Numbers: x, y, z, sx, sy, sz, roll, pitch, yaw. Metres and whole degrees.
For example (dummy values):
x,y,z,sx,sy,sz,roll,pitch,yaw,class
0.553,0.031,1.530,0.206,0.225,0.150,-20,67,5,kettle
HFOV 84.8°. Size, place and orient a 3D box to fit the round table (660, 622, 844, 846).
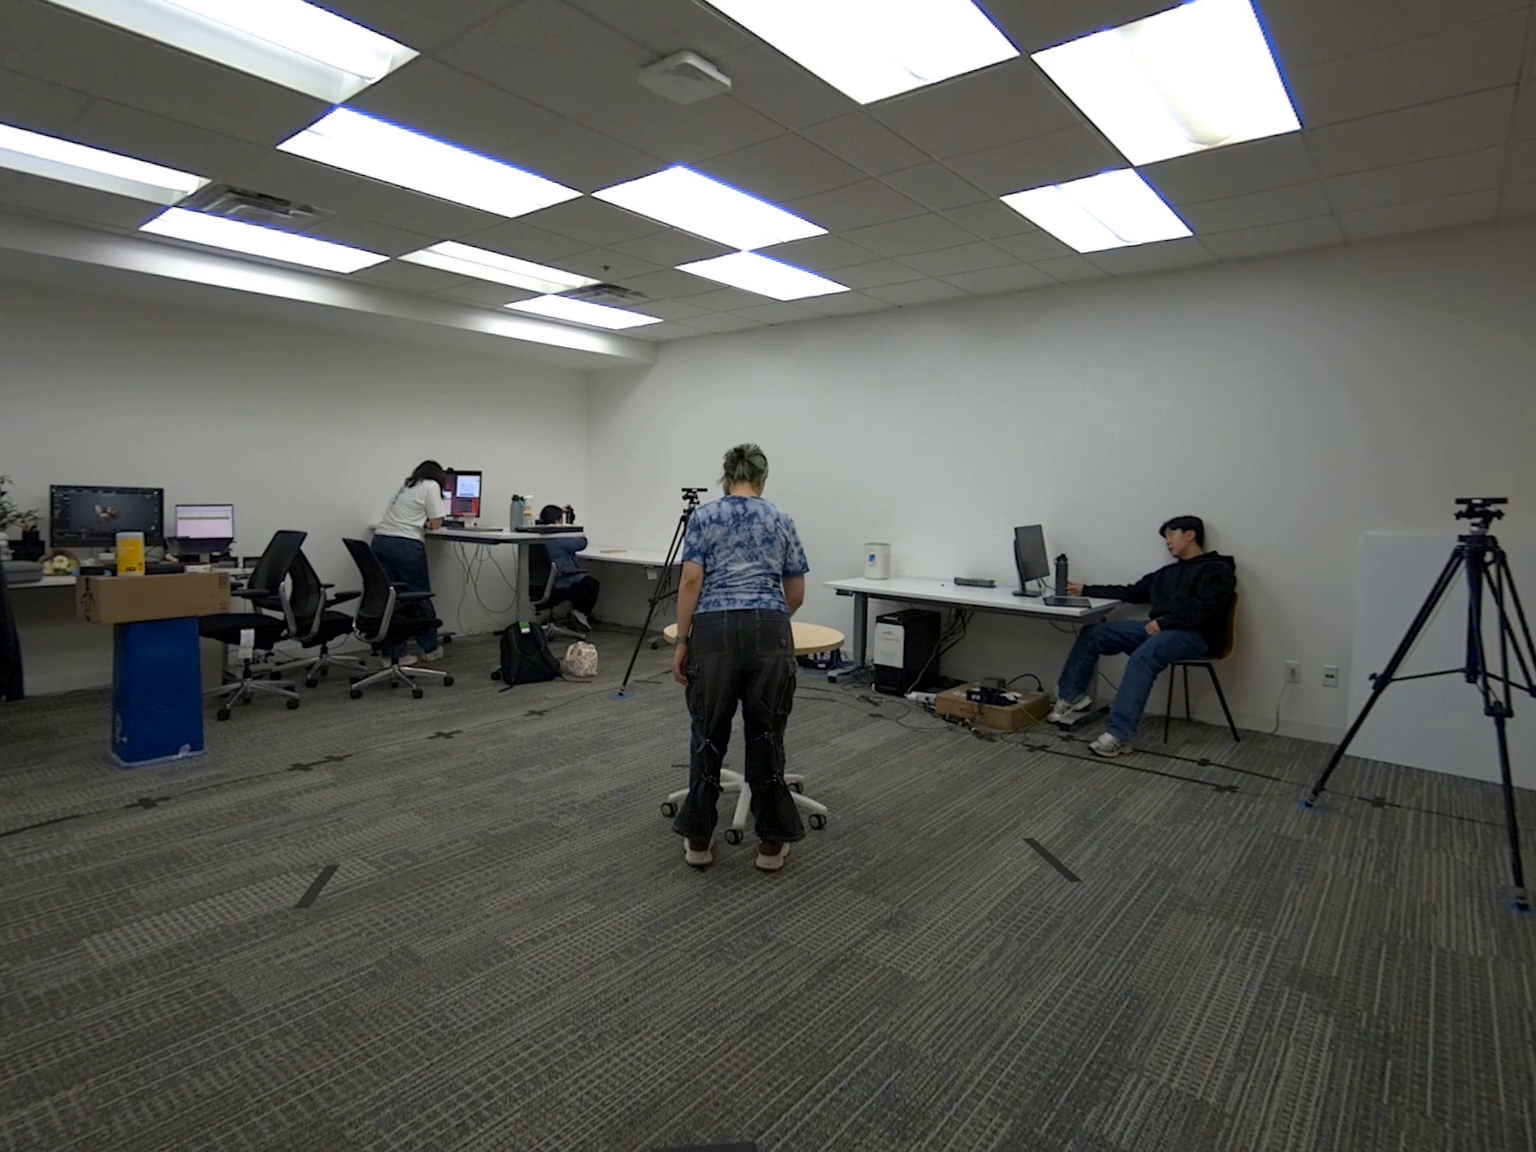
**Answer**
x,y,z,sx,sy,sz,roll,pitch,yaw,class
-0.070,0.626,3.628,0.784,0.784,0.789,1,4,-2,round table
